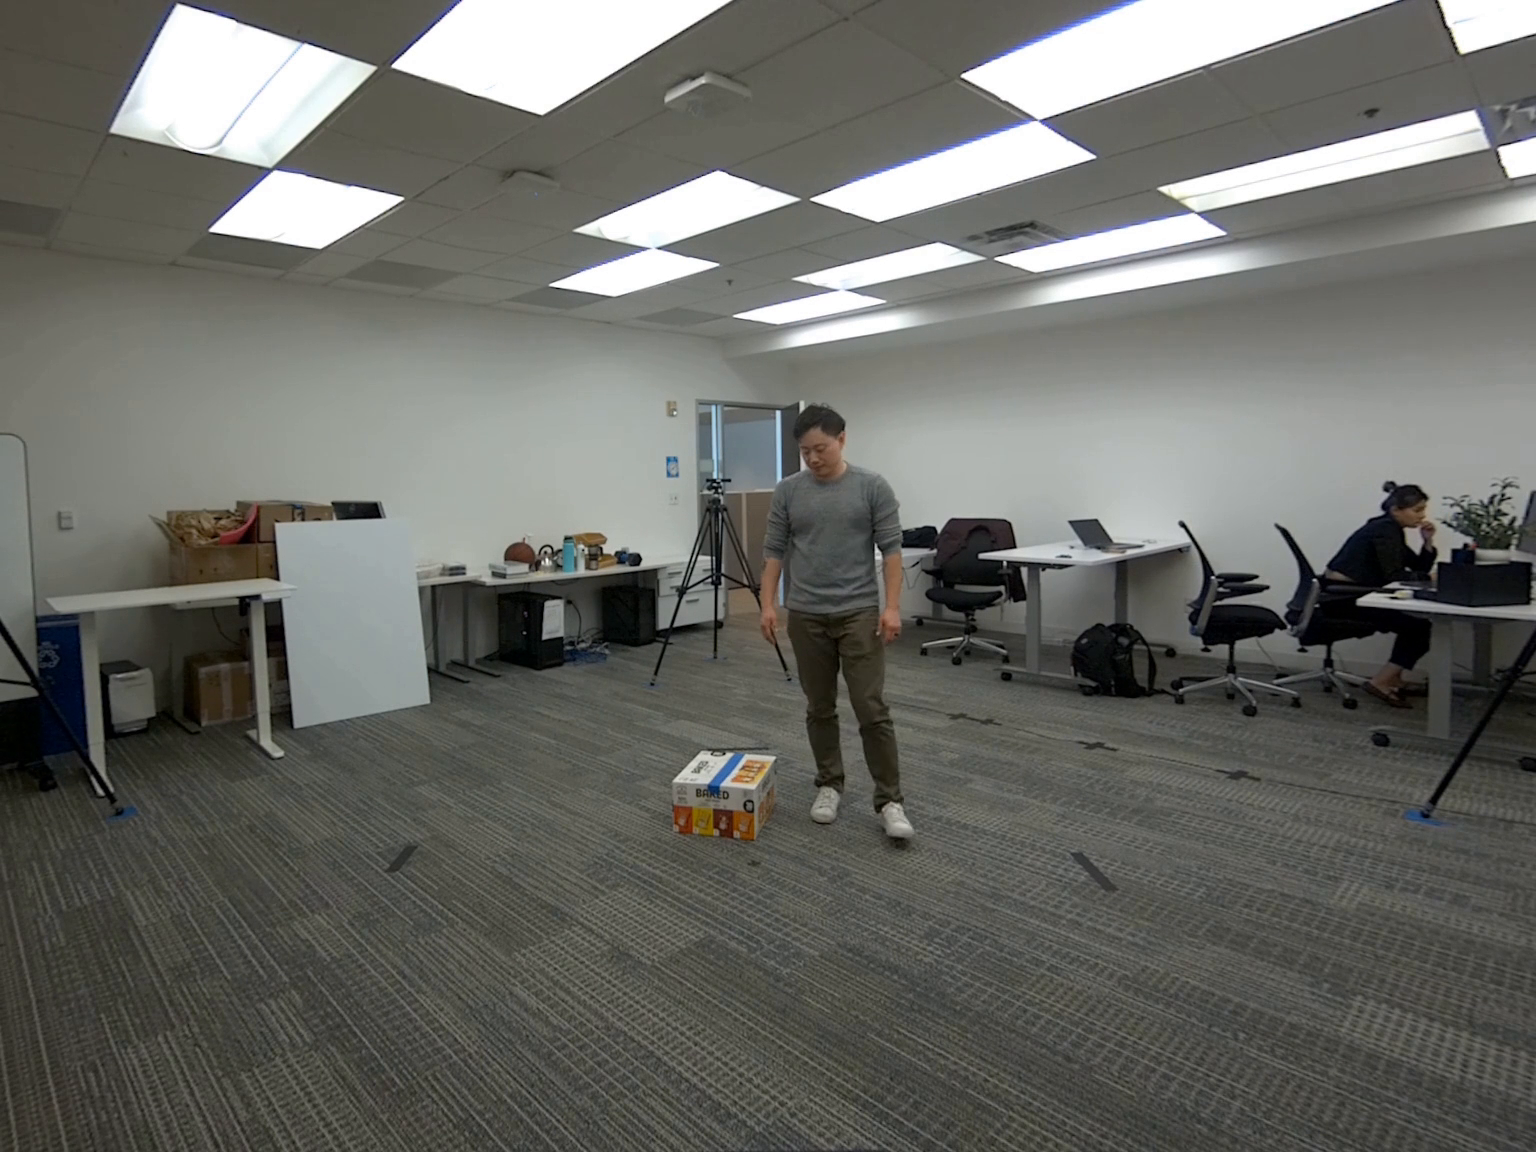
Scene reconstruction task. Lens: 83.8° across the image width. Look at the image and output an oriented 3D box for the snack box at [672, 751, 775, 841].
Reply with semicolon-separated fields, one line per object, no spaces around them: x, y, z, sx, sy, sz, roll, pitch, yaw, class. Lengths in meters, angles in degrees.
-0.174;0.903;3.538;0.345;0.205;0.401;0;5;14;snack box
